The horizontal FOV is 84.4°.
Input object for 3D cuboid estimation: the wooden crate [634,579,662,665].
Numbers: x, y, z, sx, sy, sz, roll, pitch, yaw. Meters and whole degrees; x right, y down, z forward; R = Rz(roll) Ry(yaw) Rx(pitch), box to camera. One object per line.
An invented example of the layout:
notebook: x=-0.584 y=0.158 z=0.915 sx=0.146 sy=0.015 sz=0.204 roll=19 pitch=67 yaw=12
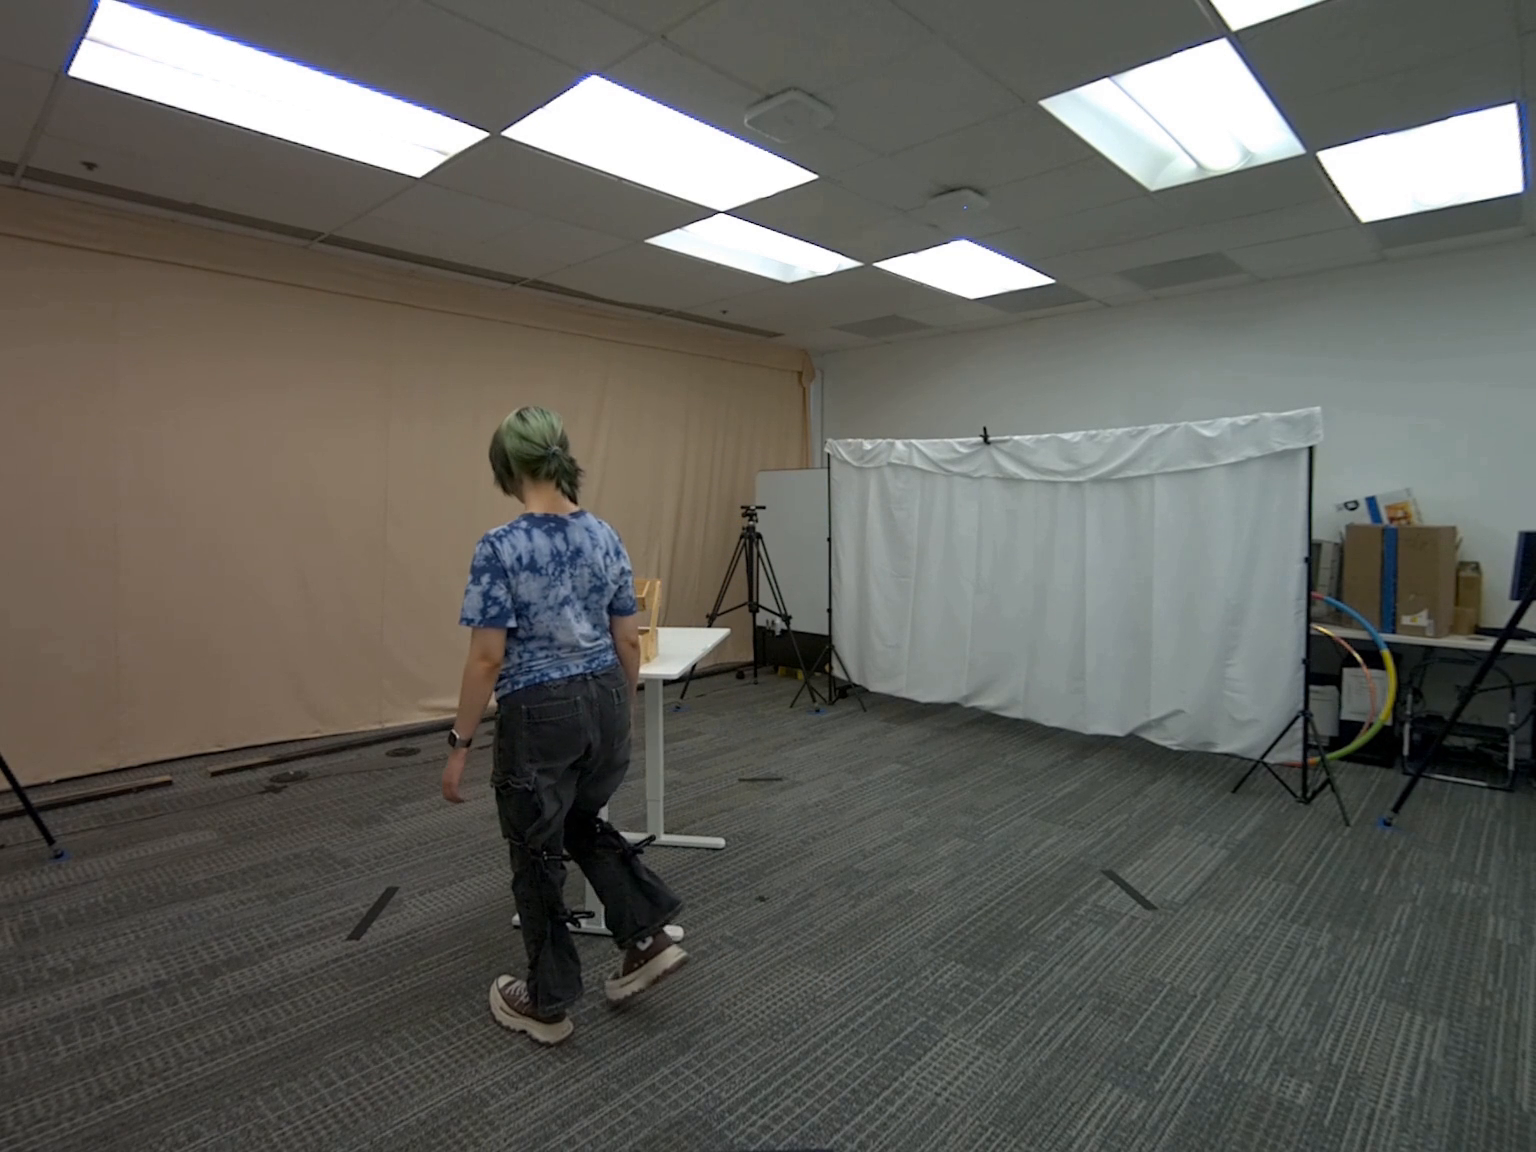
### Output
wooden crate: x=-0.538 y=0.148 z=2.792 sx=0.328 sy=0.273 sz=0.299 roll=0 pitch=3 yaw=9
